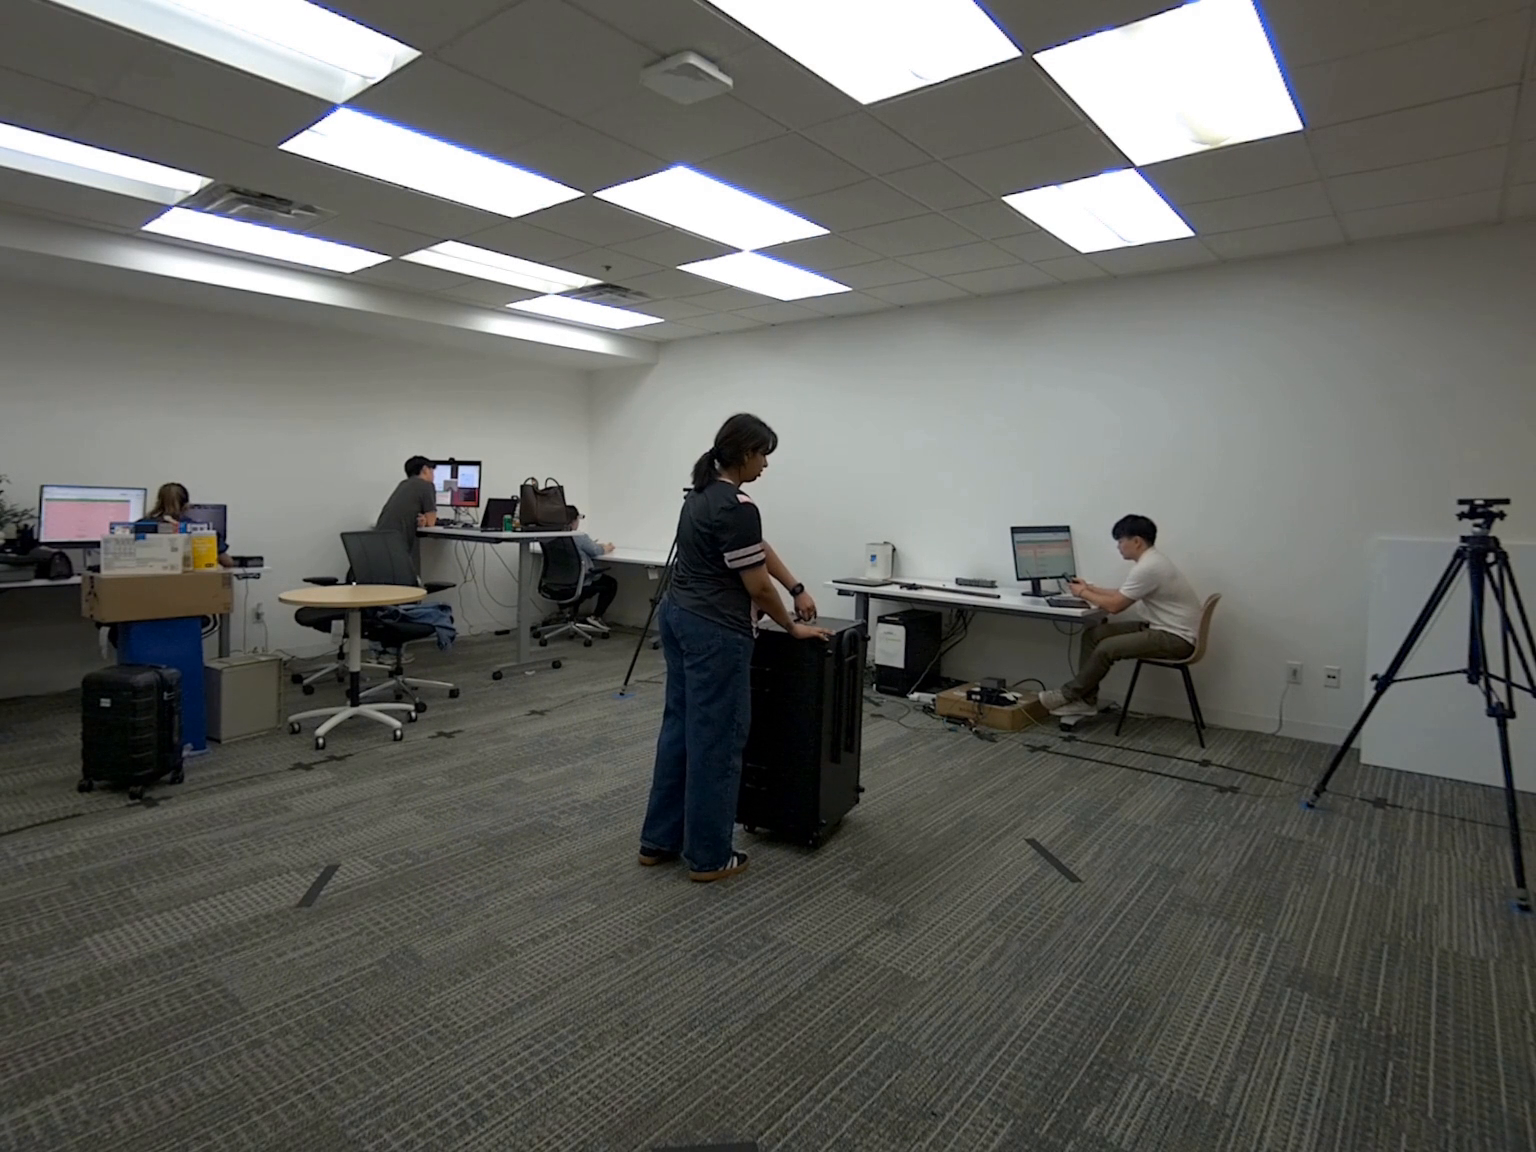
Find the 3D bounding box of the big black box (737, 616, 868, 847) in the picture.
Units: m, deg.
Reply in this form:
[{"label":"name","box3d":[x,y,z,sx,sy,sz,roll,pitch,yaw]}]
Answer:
[{"label":"big black box","box3d":[0.143,0.616,3.487,0.395,0.865,0.512,4,5,24]}]
